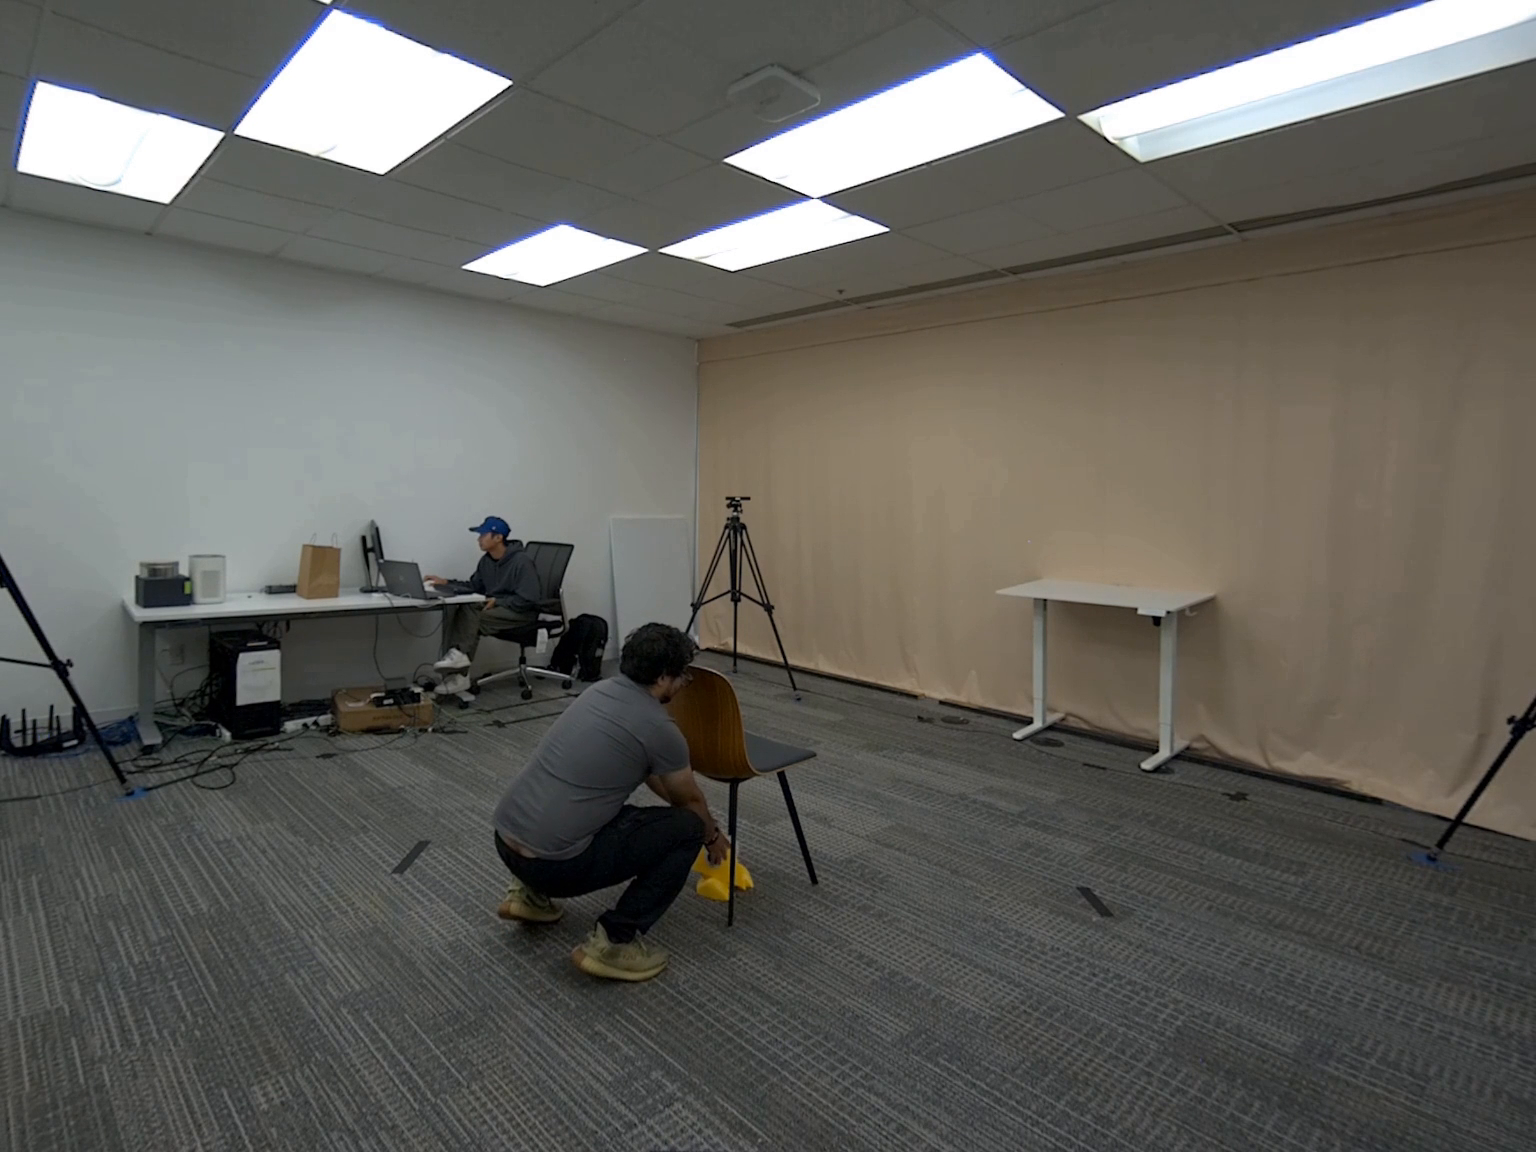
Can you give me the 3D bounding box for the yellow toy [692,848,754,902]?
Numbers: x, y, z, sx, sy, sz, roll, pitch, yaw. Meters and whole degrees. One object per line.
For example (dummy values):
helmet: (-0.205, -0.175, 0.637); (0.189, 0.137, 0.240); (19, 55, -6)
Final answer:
yellow toy: (-0.170, 1.006, 3.014); (0.198, 0.230, 0.200); (2, 3, 41)
